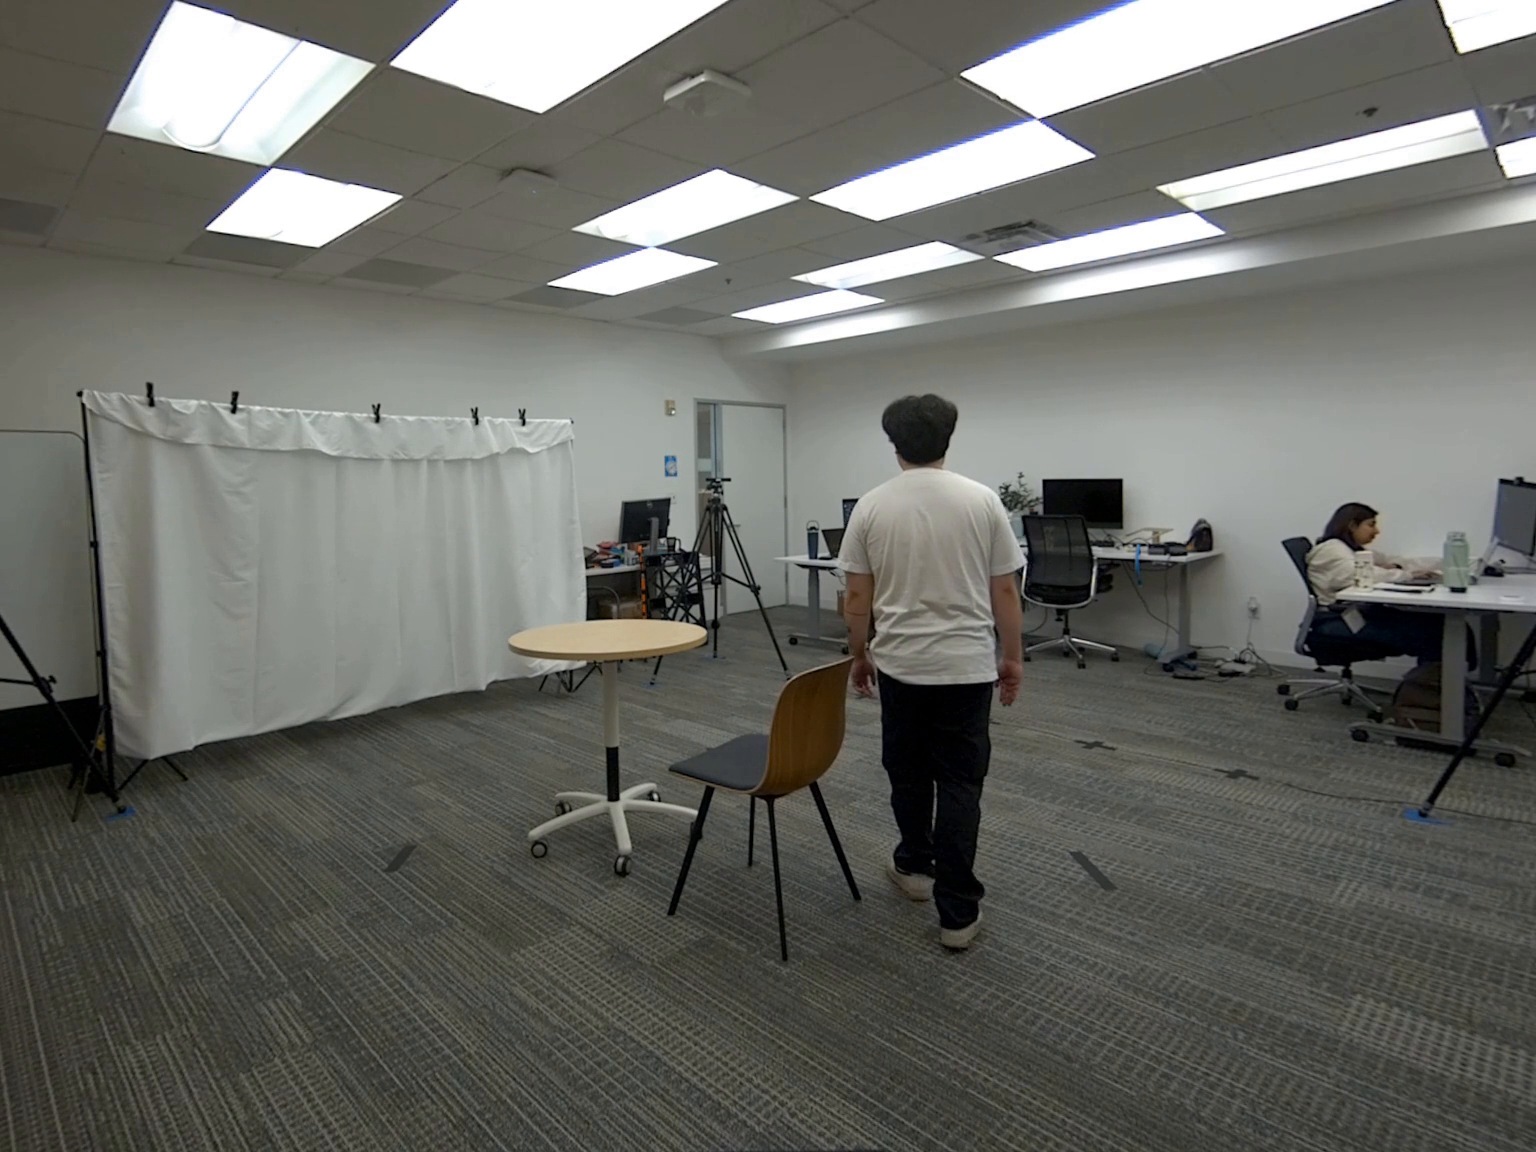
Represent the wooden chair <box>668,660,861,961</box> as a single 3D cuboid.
[{"bbox_3d":[-0.017,0.654,2.747,0.540,0.872,0.466,8,9,37],"label":"wooden chair"}]
